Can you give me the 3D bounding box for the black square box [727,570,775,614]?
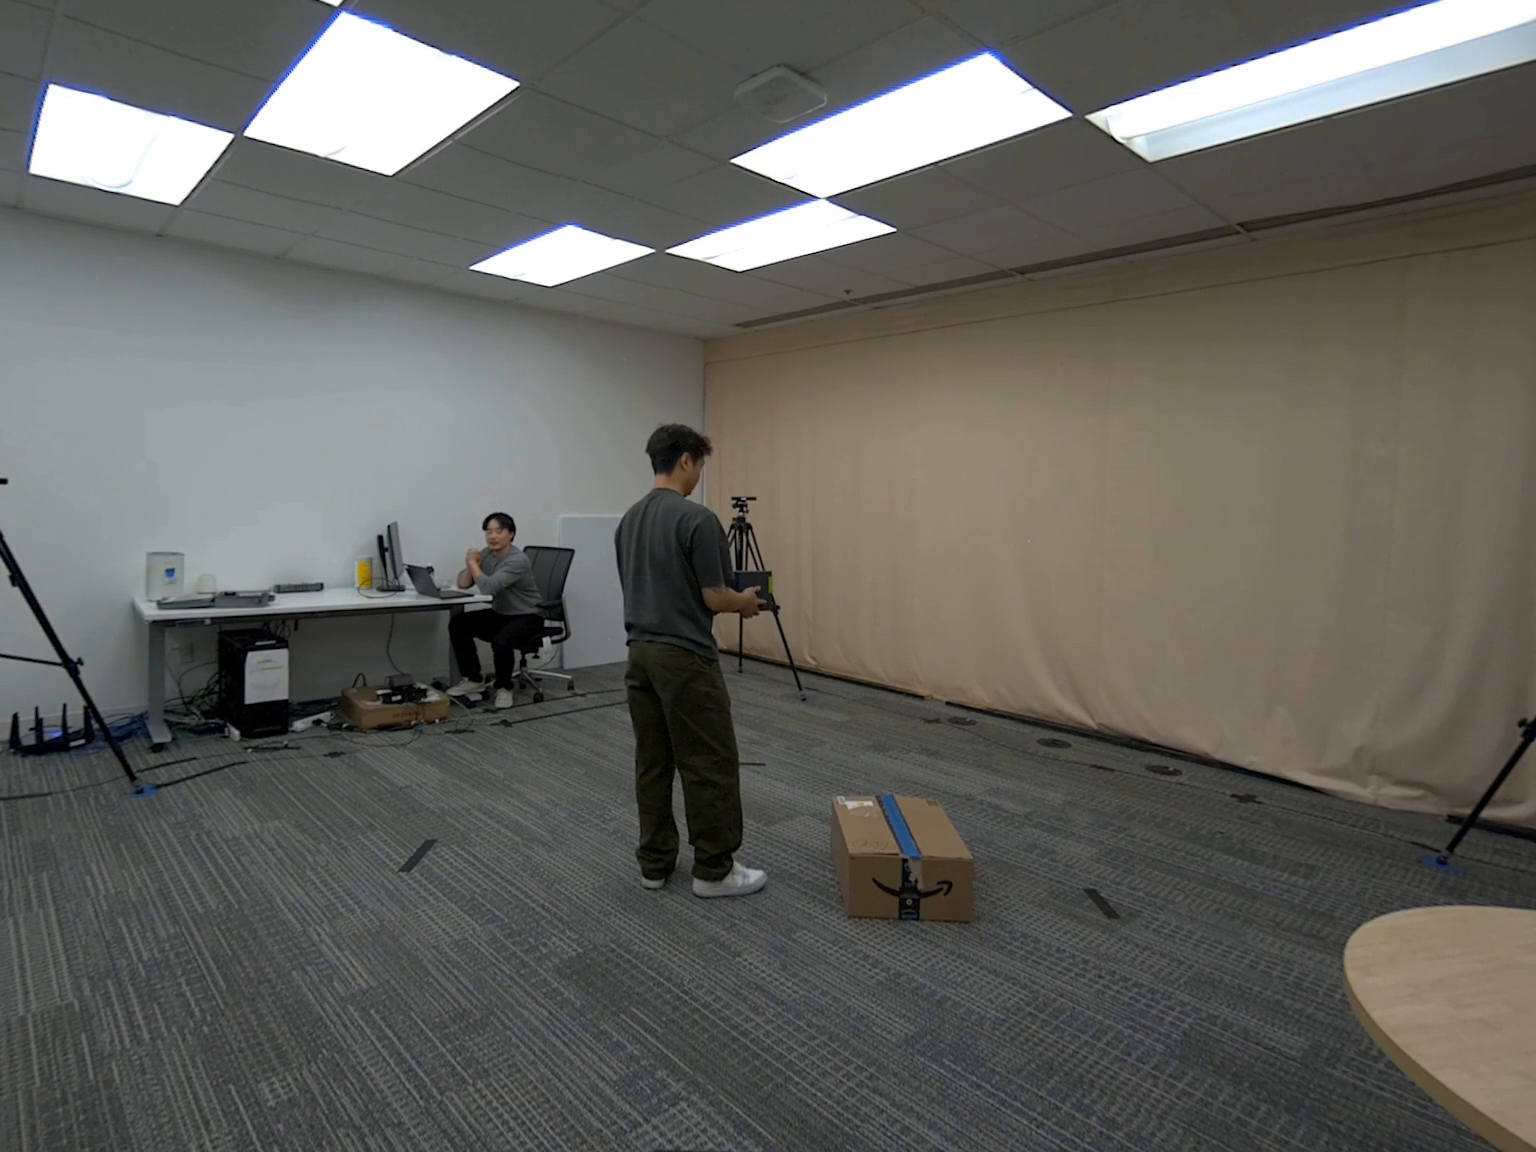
[{"bbox_3d":[-0.136,0.058,3.286,0.233,0.156,0.212,-1,0,38],"label":"black square box"}]
